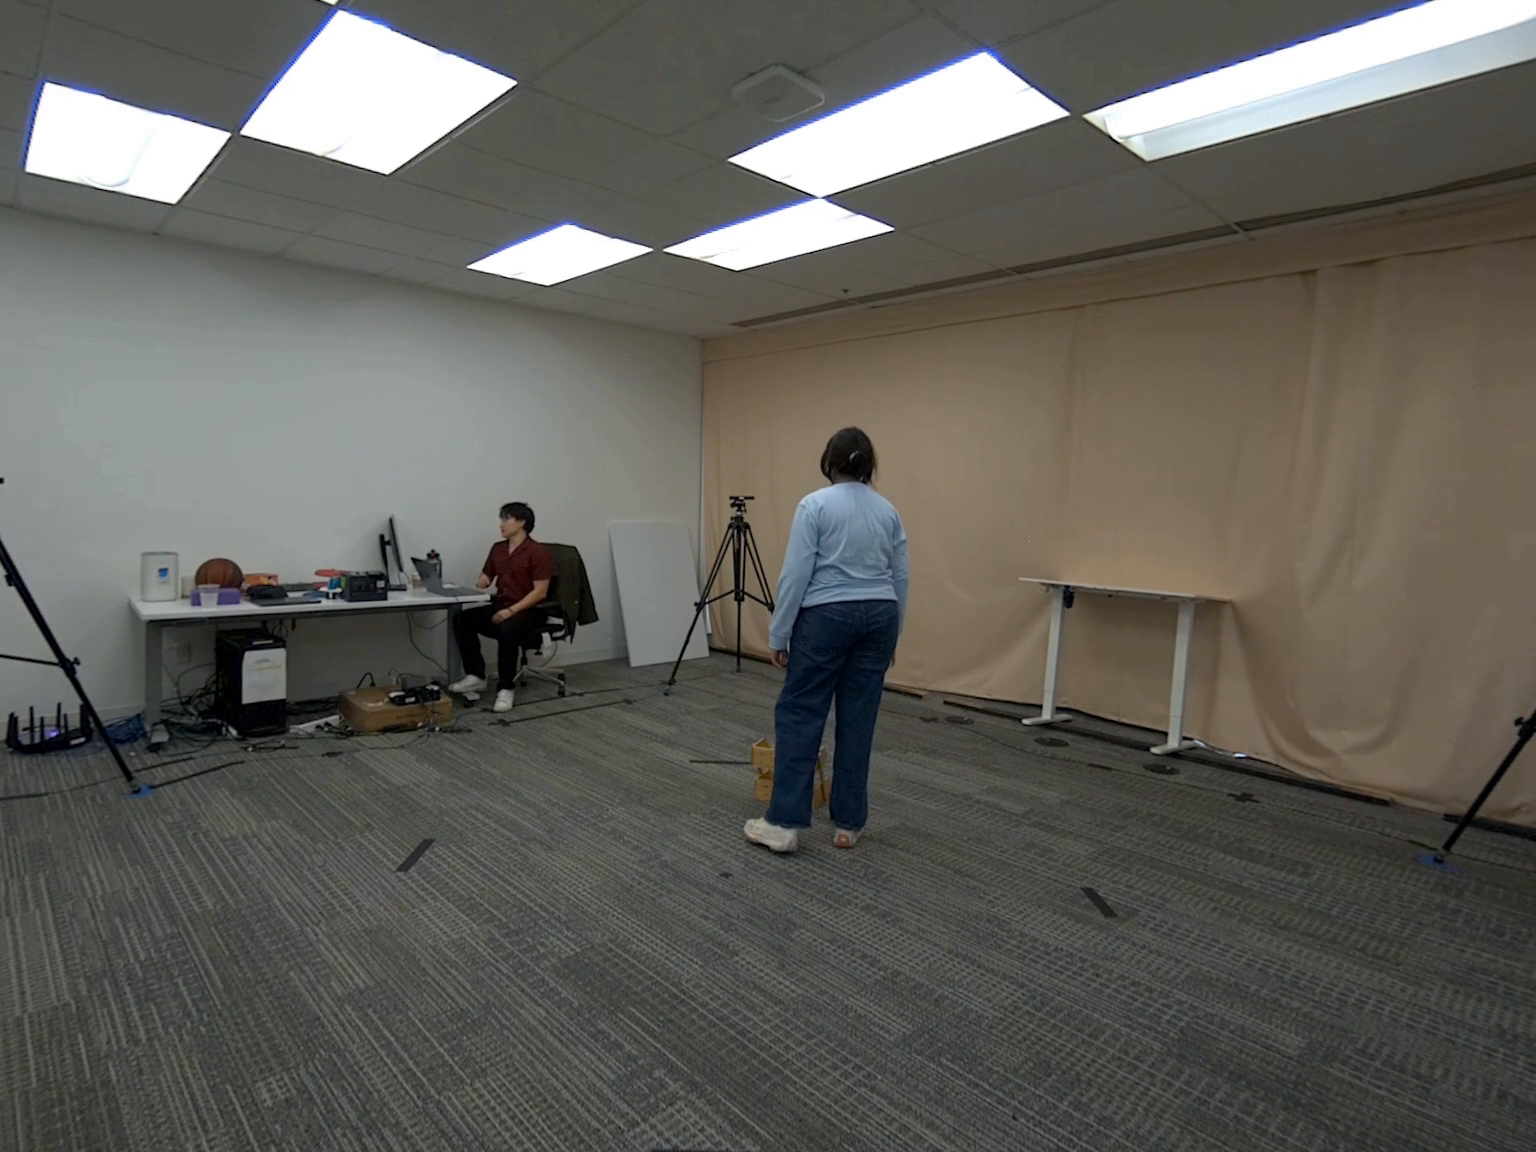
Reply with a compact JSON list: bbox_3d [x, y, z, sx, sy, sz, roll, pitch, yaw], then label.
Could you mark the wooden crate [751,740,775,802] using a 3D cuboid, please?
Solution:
[{"bbox_3d":[0.100,0.908,3.949,0.330,0.272,0.298,3,5,21],"label":"wooden crate"}]
